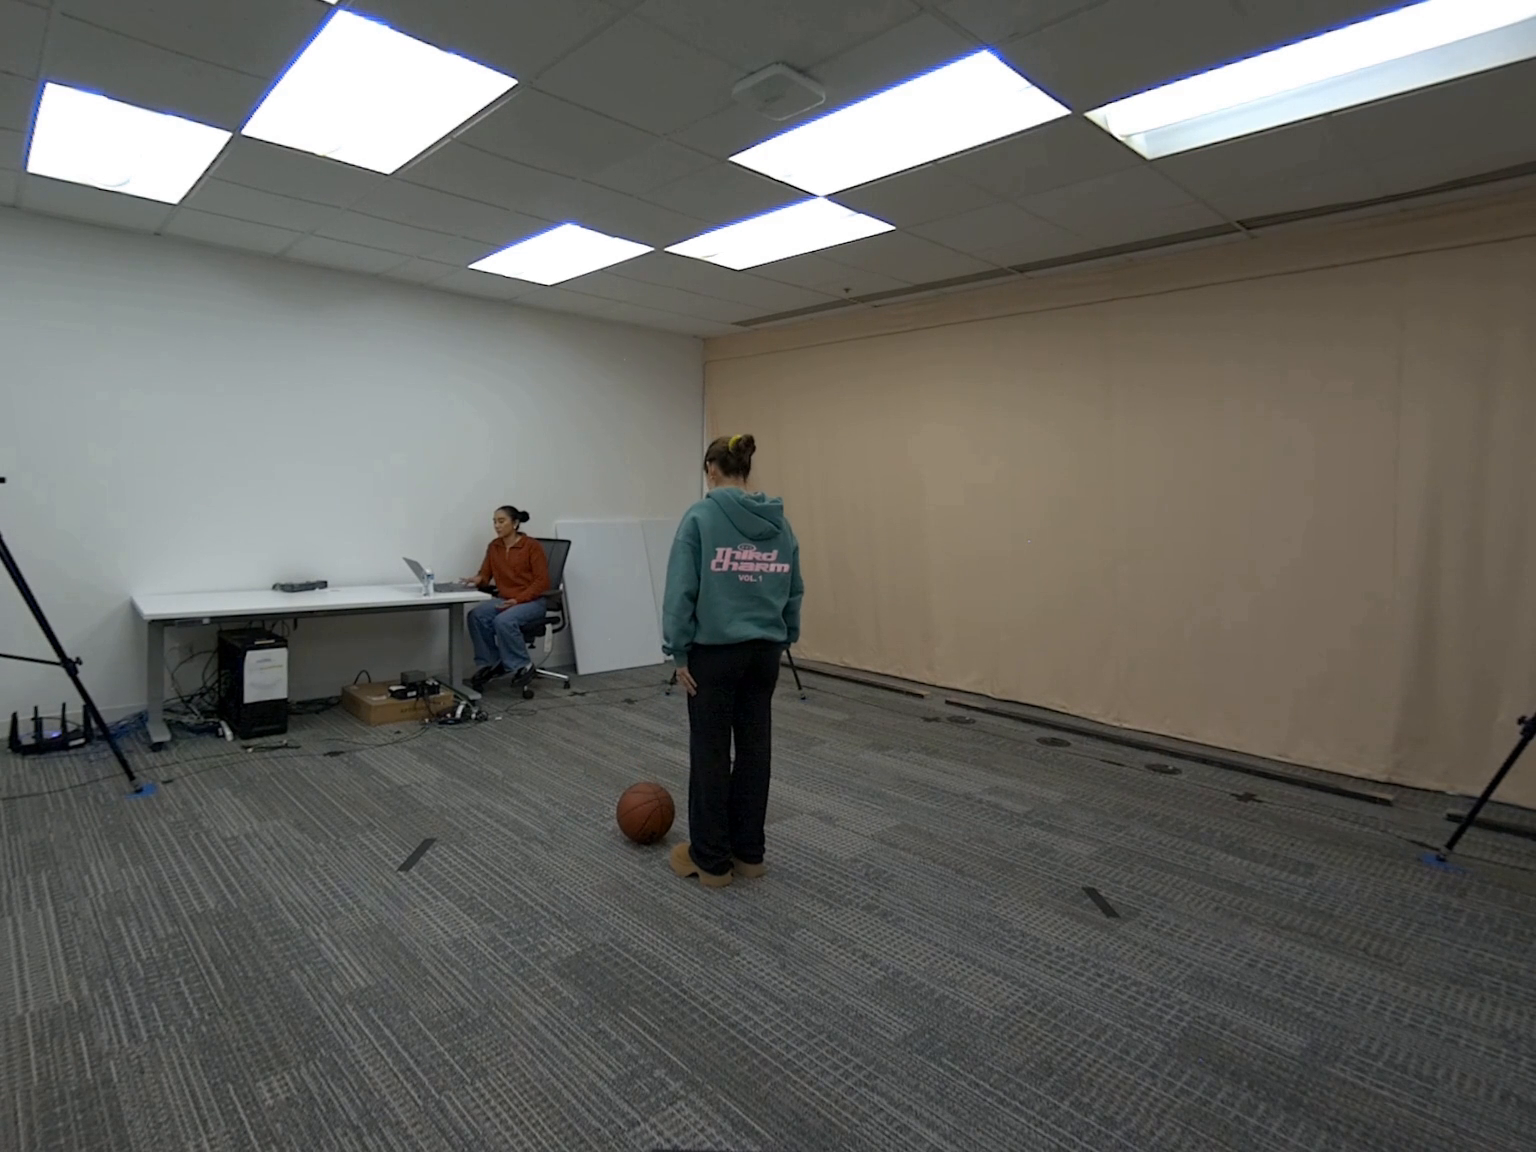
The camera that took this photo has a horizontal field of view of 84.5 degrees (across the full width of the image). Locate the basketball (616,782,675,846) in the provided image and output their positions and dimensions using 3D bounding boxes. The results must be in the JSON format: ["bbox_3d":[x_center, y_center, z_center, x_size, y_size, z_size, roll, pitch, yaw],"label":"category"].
[{"bbox_3d":[-0.500,0.948,3.383,0.236,0.235,0.237,1,4,-1],"label":"basketball"}]
